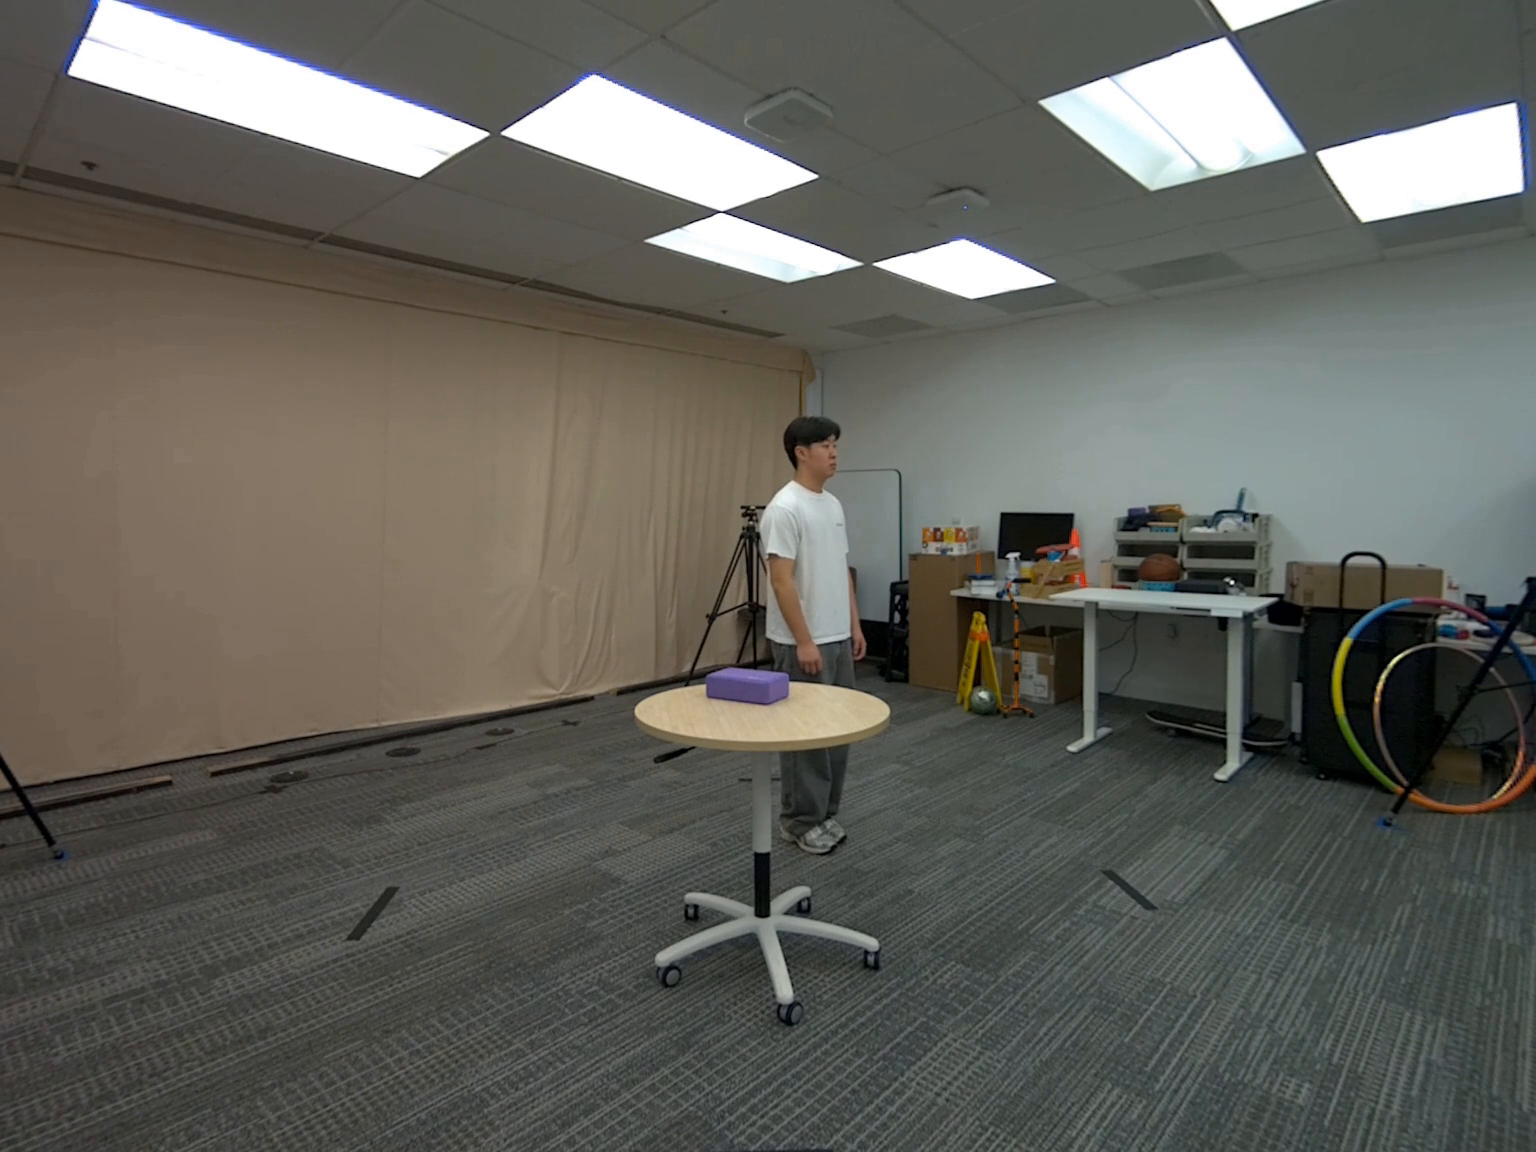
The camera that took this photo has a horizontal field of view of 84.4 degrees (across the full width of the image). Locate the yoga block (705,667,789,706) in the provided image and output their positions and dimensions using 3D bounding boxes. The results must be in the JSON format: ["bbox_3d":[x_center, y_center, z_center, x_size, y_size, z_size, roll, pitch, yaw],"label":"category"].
[{"bbox_3d":[-0.057,0.351,2.678,0.236,0.076,0.145,2,5,31],"label":"yoga block"}]
